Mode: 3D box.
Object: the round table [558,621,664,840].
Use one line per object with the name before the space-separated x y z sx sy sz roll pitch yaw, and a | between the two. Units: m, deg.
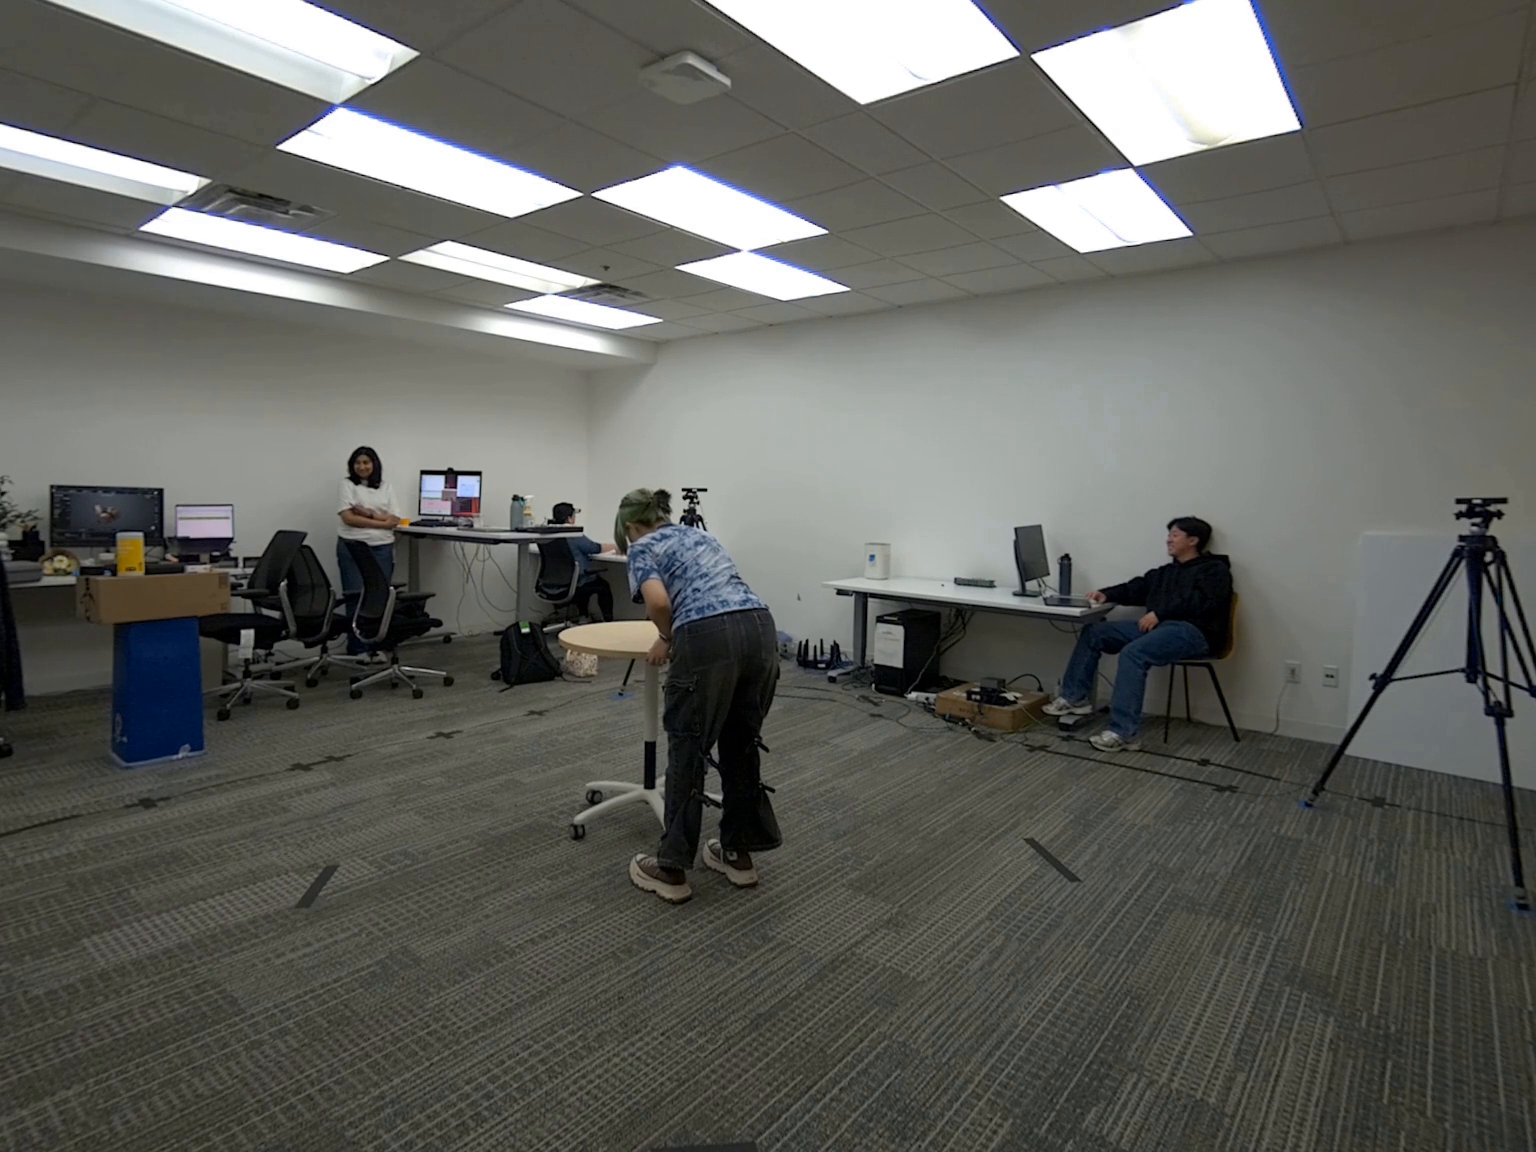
round table | -0.498 0.635 3.539 0.763 0.792 0.767 1 4 -2
